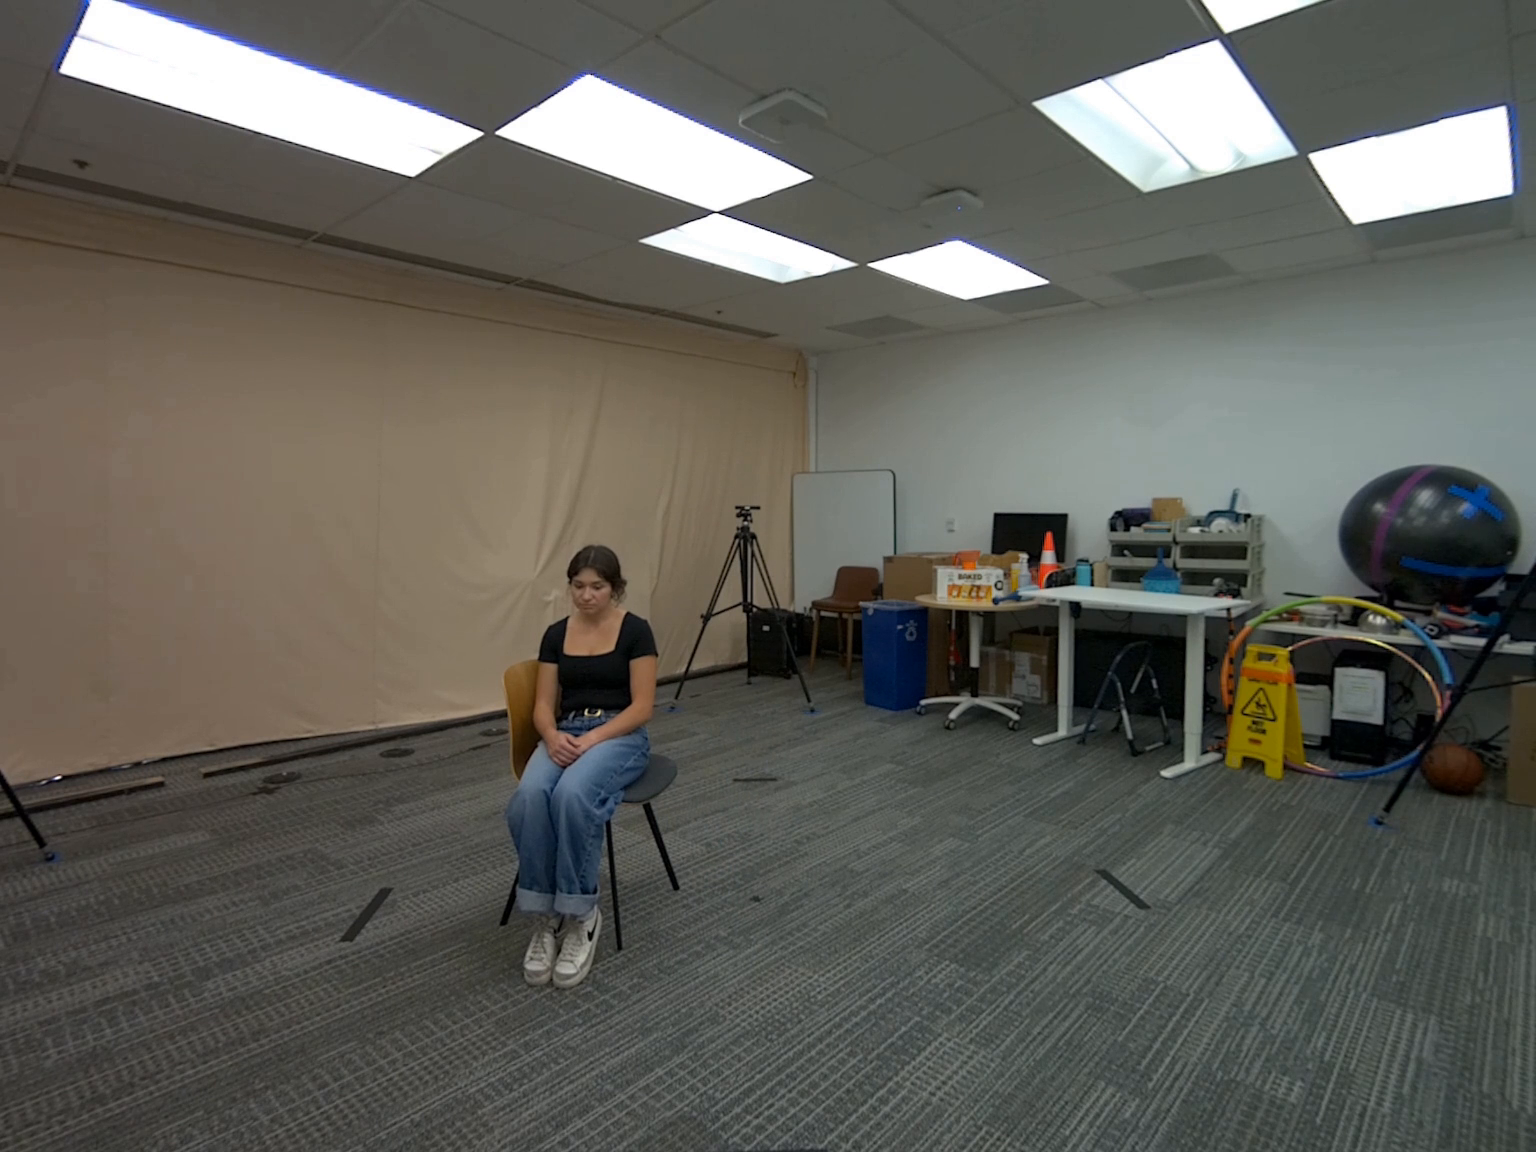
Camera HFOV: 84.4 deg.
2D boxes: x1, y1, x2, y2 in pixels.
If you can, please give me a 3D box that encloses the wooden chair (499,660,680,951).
[{"bbox_3d":[-0.604,0.730,2.909,0.534,0.876,0.469,-4,3,20],"label":"wooden chair"}]
